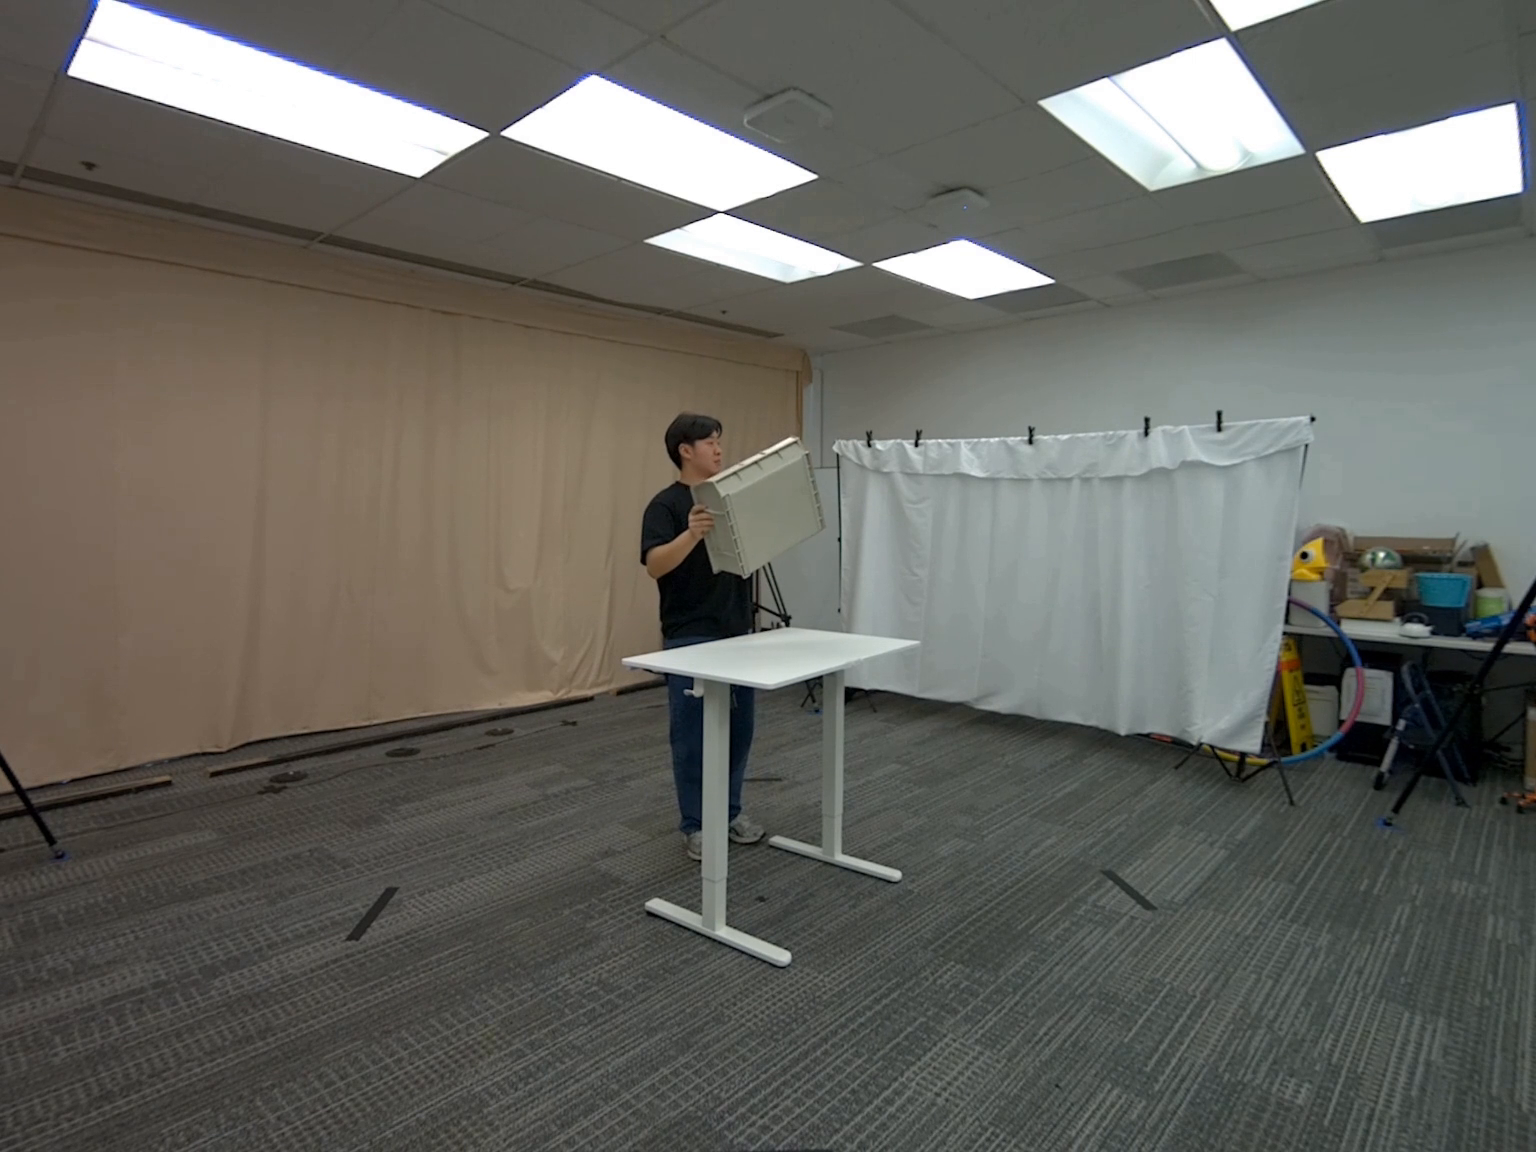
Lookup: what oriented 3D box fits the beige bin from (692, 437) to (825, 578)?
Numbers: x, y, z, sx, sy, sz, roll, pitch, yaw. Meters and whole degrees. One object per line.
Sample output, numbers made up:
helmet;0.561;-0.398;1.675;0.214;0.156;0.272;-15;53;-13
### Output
beige bin;-0.028;-0.252;3.035;0.415;0.370;0.196;-30;28;-30
